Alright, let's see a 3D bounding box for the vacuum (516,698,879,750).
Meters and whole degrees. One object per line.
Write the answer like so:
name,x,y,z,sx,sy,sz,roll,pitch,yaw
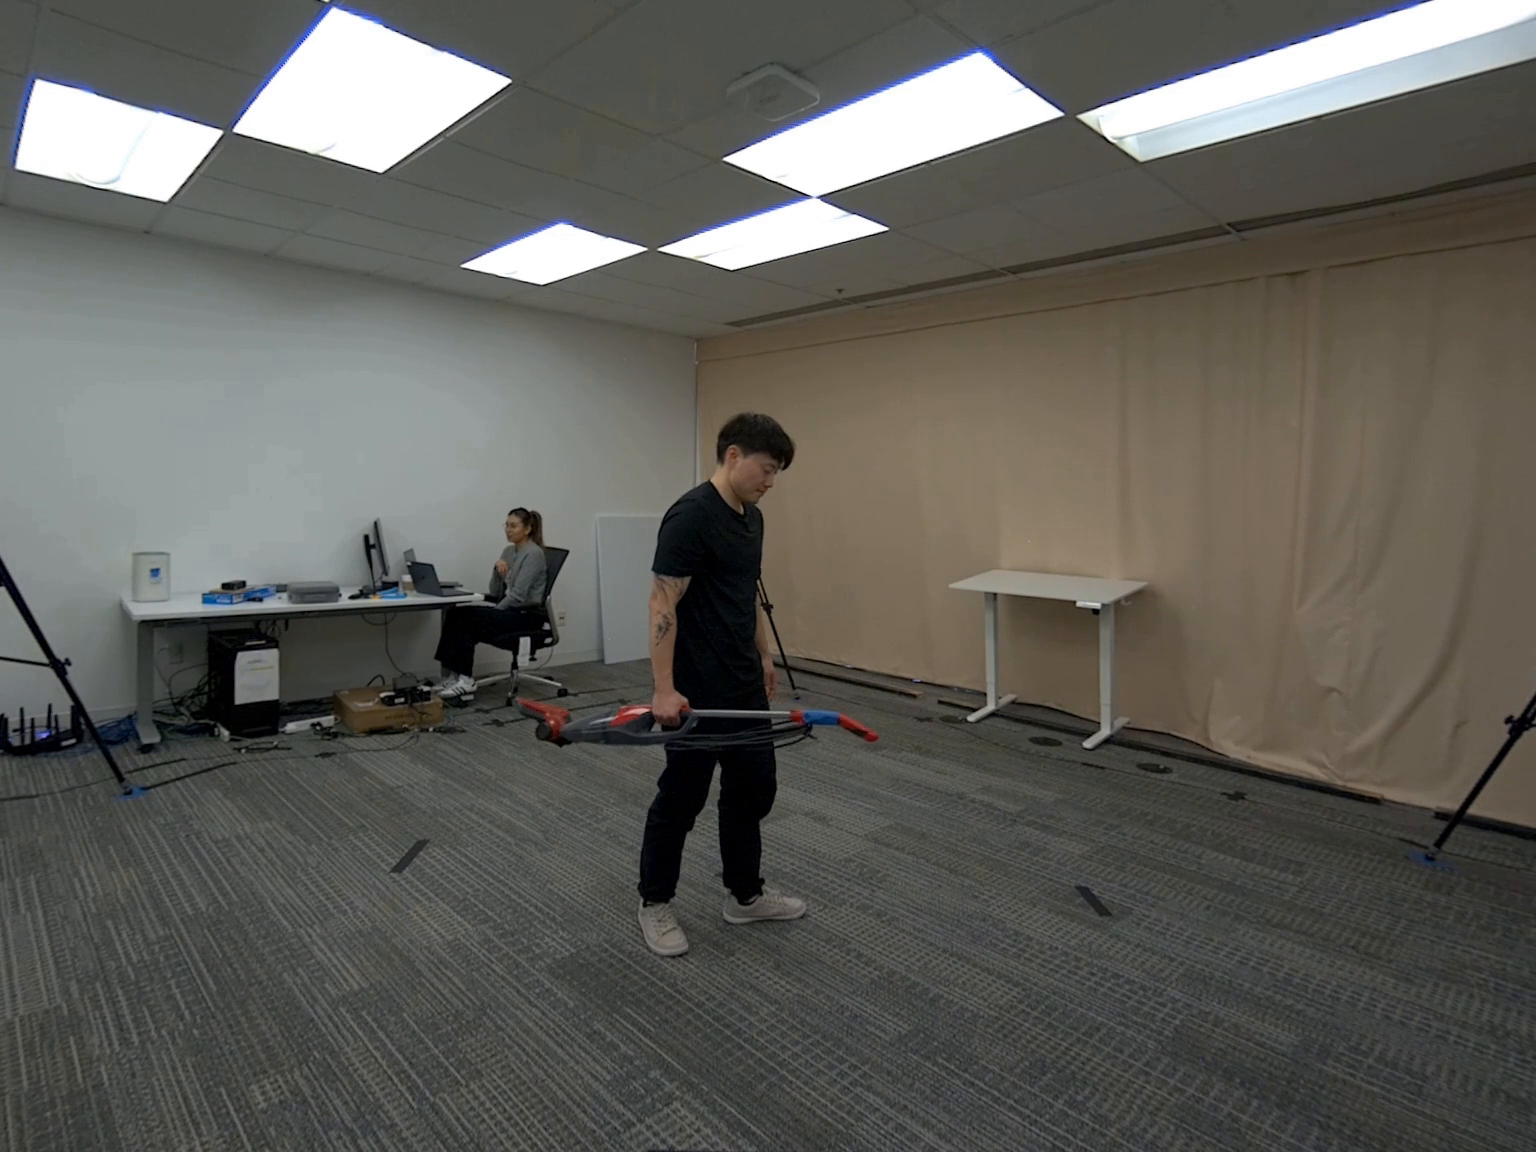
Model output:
vacuum,-0.225,0.437,2.357,1.070,0.145,0.245,-2,-15,30
